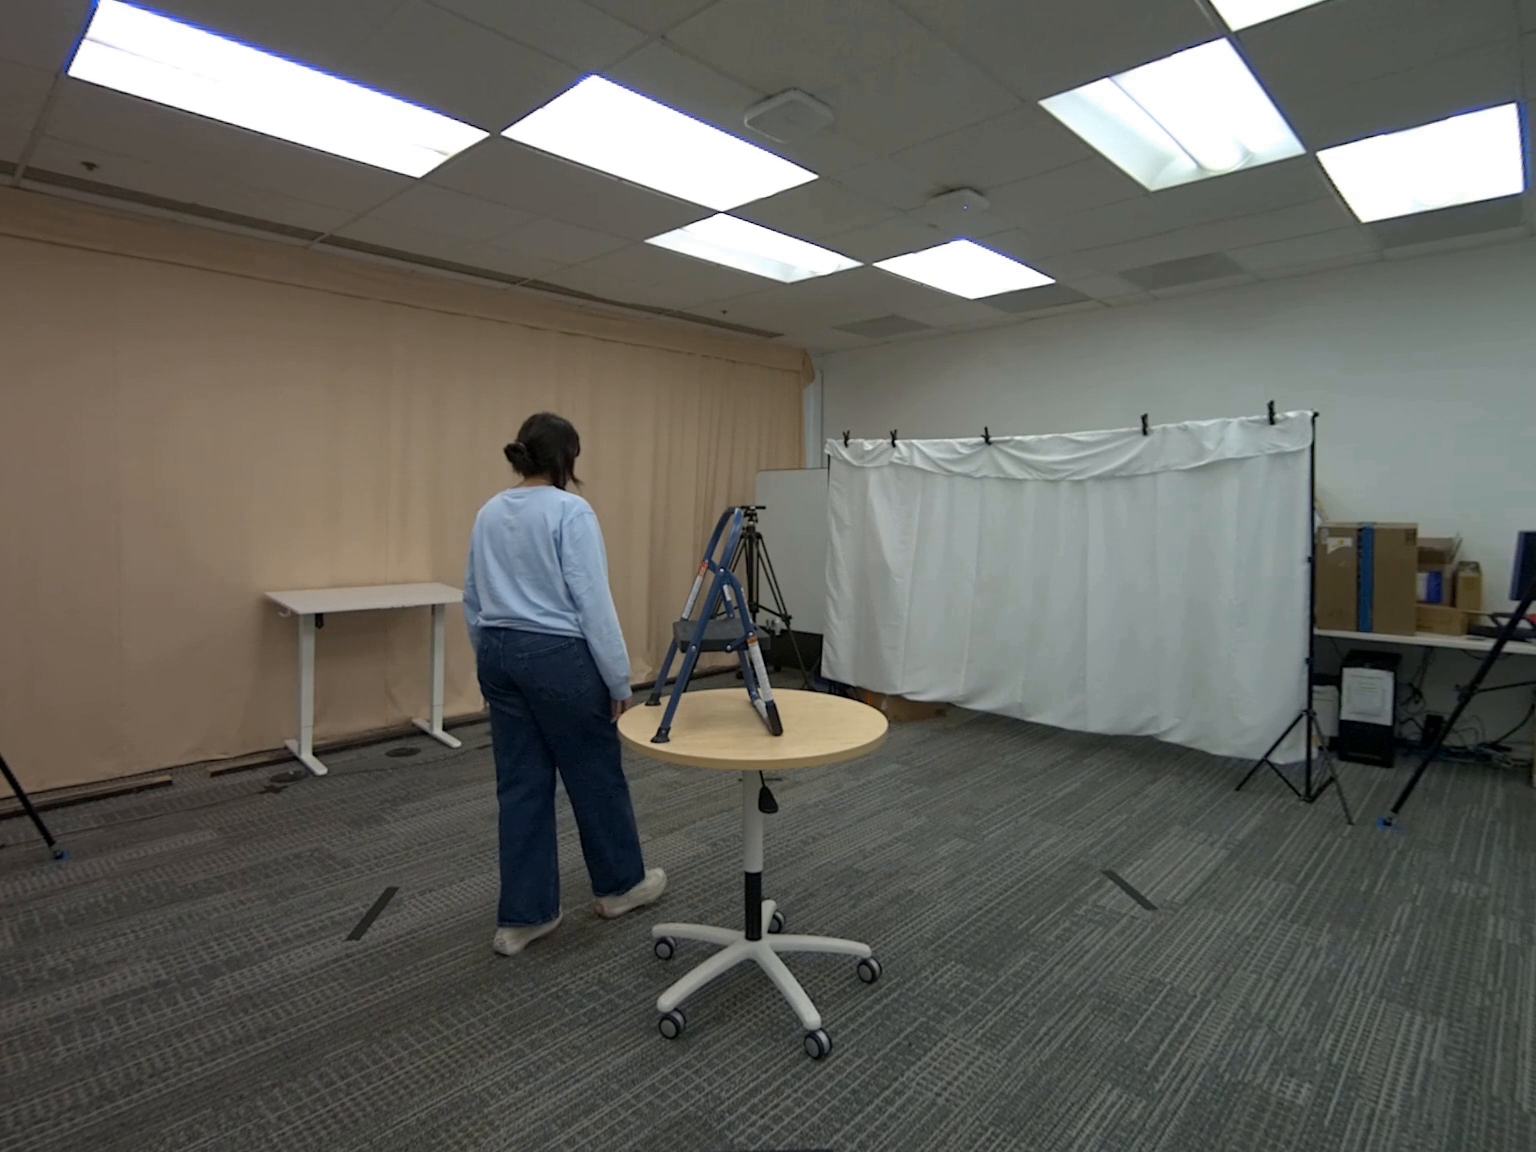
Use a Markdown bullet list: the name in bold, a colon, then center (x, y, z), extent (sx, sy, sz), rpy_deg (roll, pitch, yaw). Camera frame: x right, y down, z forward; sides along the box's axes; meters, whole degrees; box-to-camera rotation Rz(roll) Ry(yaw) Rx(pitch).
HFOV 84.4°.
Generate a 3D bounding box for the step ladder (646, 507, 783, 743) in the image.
- **step ladder**: center (-0.166, 0.107, 2.381), extent (0.346, 0.605, 0.435), rpy_deg (-2, 3, -9)
